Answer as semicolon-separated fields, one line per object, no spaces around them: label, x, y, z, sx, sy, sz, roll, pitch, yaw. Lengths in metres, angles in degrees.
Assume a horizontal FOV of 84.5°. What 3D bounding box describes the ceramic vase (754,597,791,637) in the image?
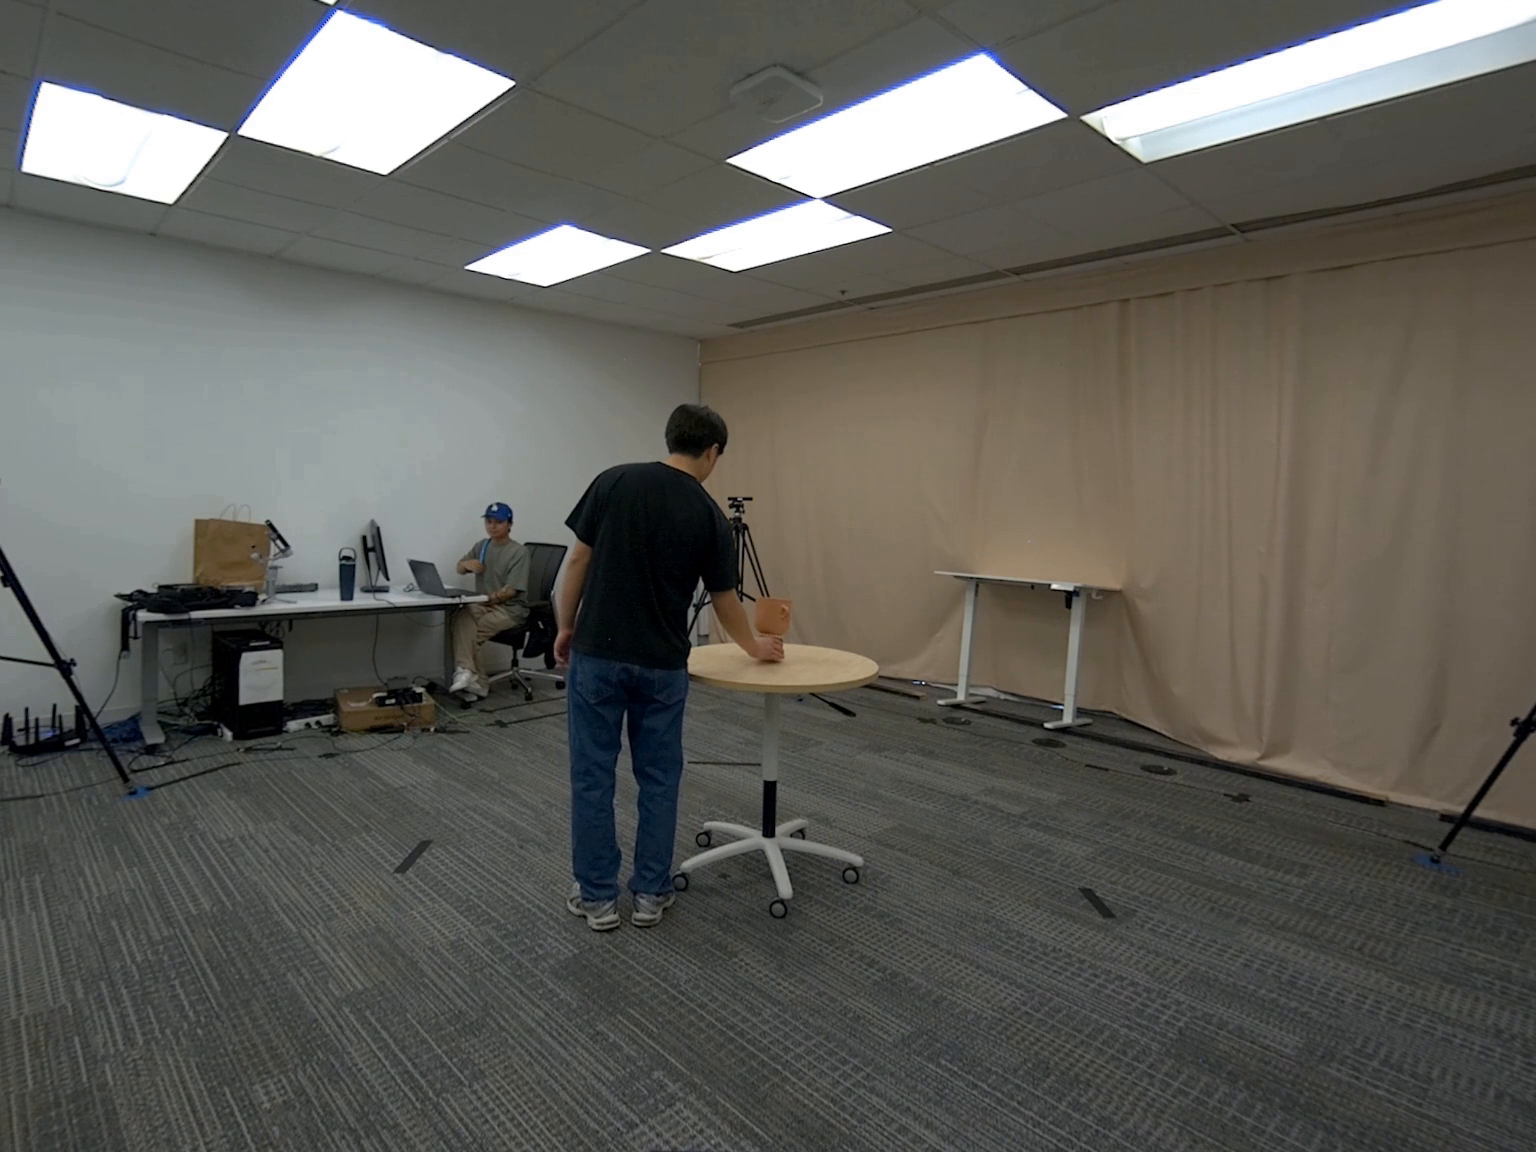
ceramic vase;0.002;0.194;3.109;0.135;0.220;0.157;5;-4;7
